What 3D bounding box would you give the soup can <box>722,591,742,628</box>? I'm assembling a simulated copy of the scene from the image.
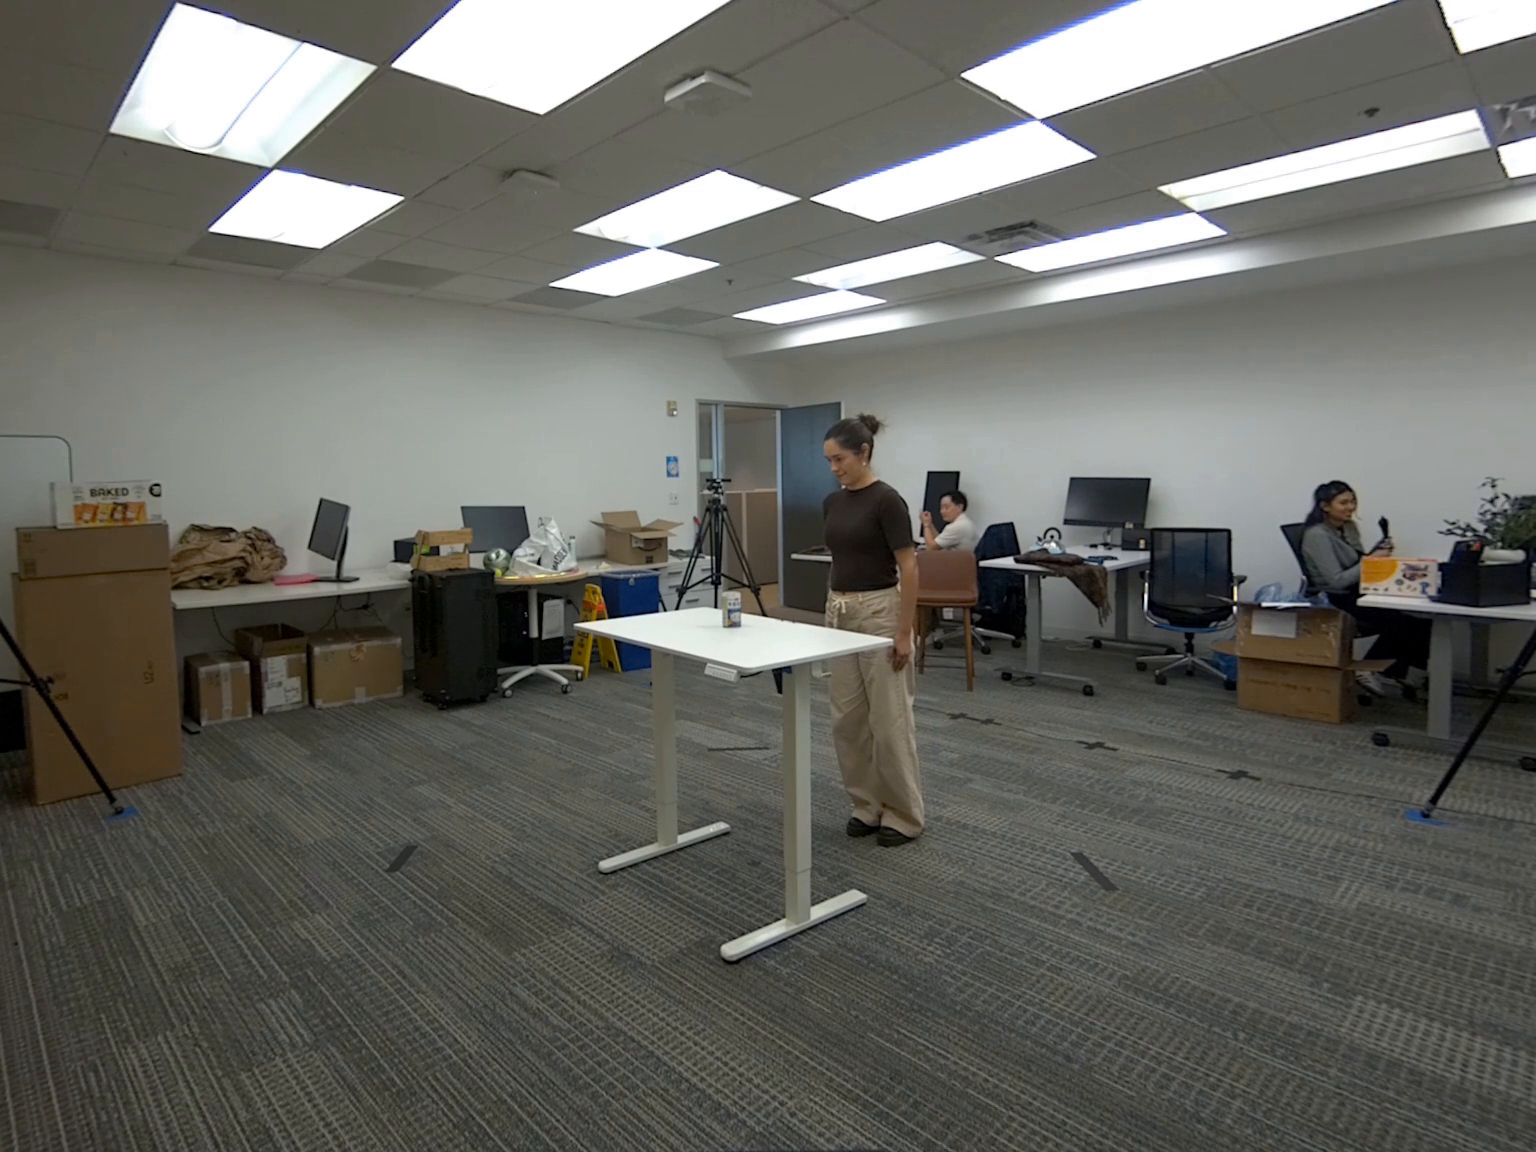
[{"bbox_3d":[-0.119,0.117,2.982,0.067,0.121,0.067,-2,5,-1],"label":"soup can"}]
